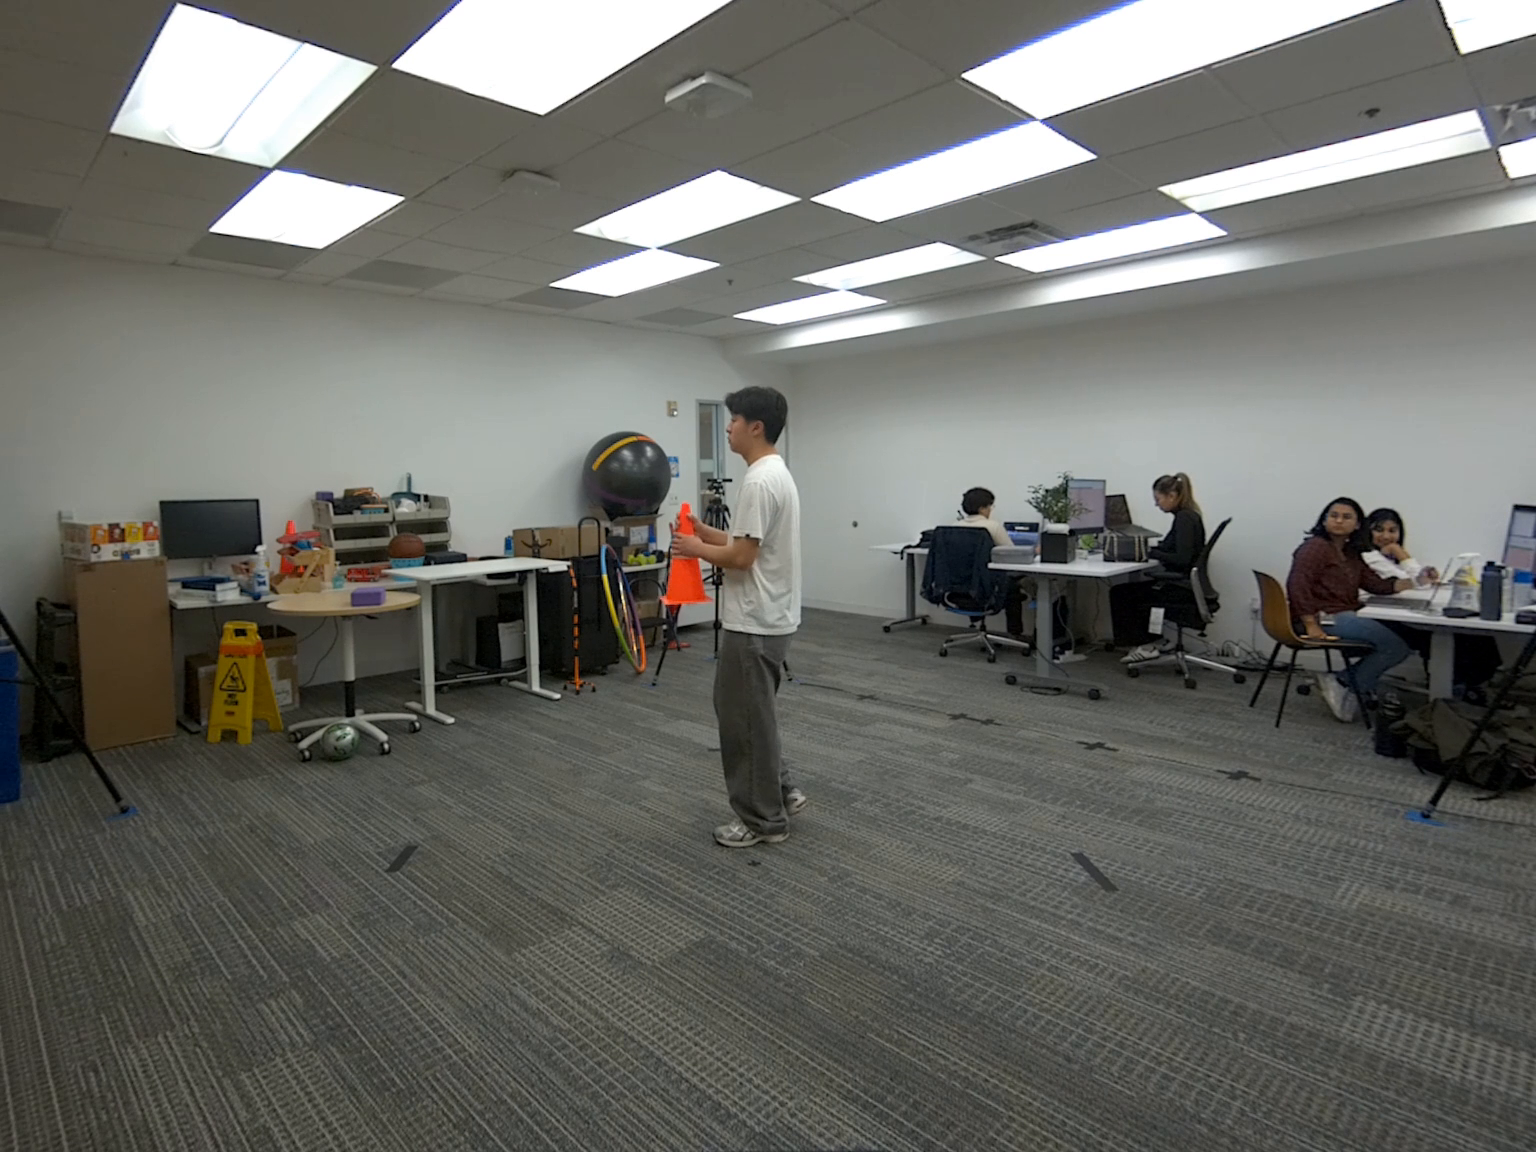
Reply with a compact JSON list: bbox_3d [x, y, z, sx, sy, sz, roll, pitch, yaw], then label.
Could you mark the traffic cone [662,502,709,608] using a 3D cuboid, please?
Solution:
[{"bbox_3d":[-0.312,-0.094,3.385,0.205,0.383,0.204,-1,3,8],"label":"traffic cone"}]
